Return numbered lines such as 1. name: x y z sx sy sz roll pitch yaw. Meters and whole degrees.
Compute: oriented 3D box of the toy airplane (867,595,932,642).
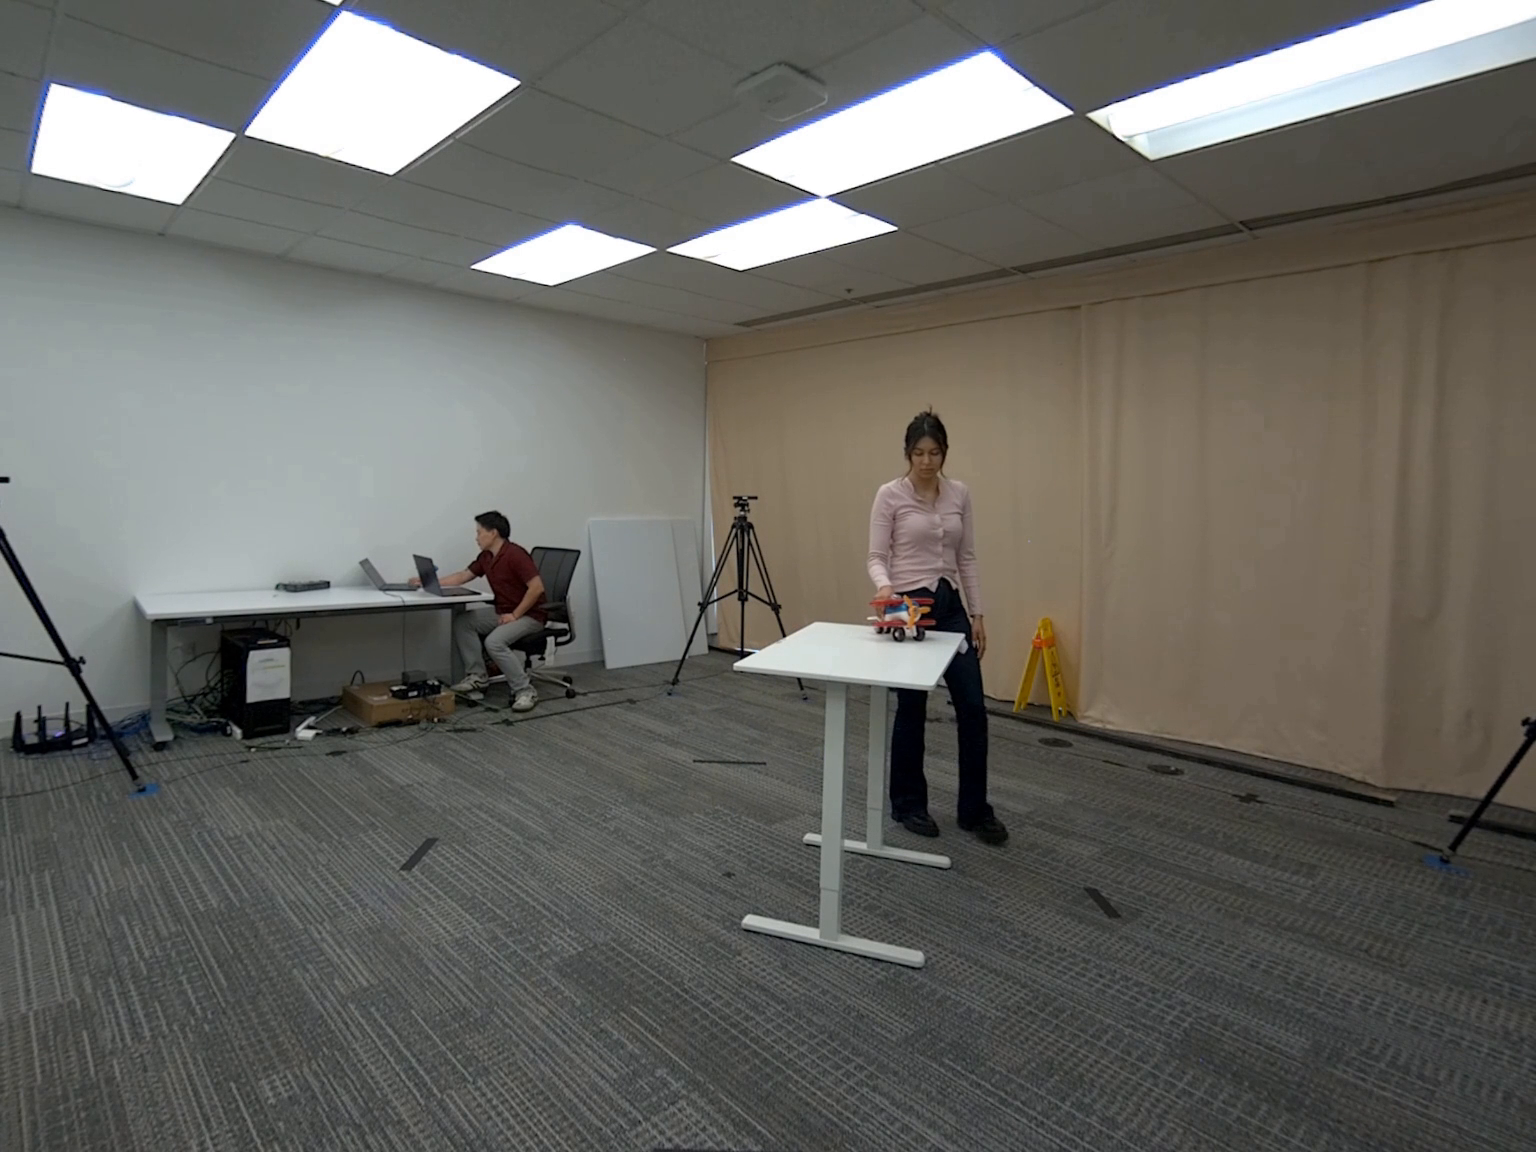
1. toy airplane: 0.466 0.155 3.149 0.266 0.156 0.245 7 6 42
